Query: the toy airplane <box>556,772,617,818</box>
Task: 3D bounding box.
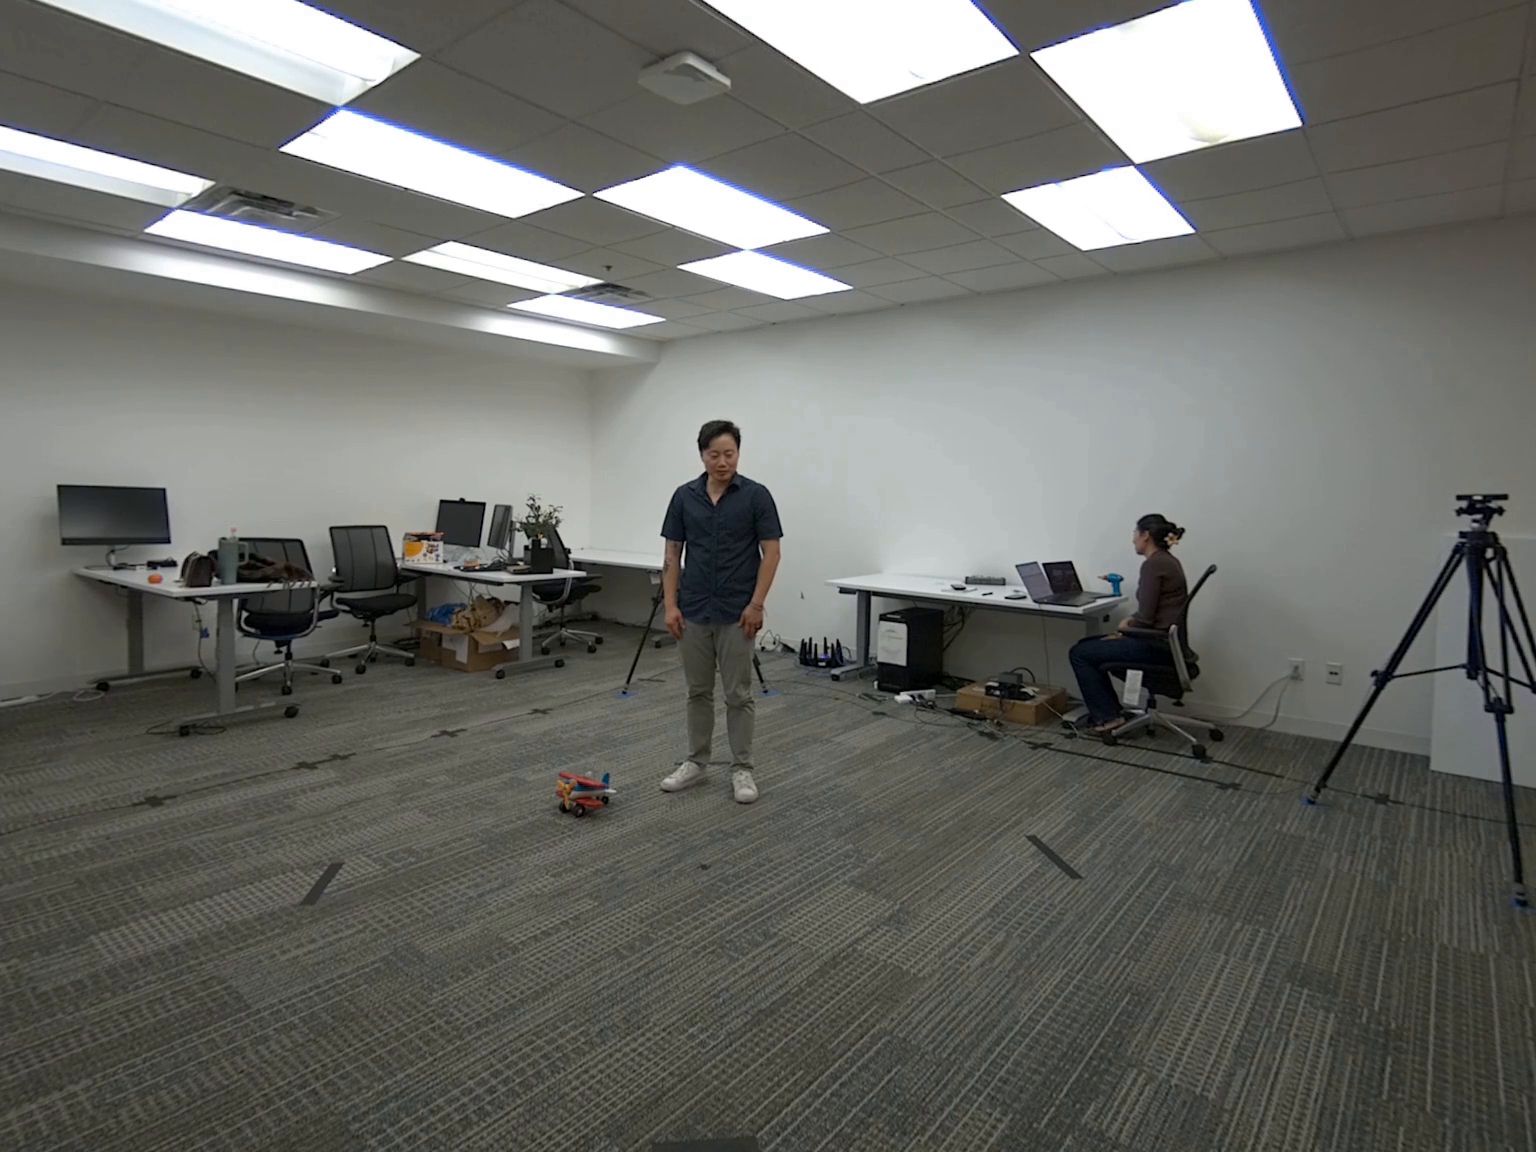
[{"bbox_3d":[-0.809,0.927,3.675,0.254,0.156,0.257,0,5,10],"label":"toy airplane"}]
